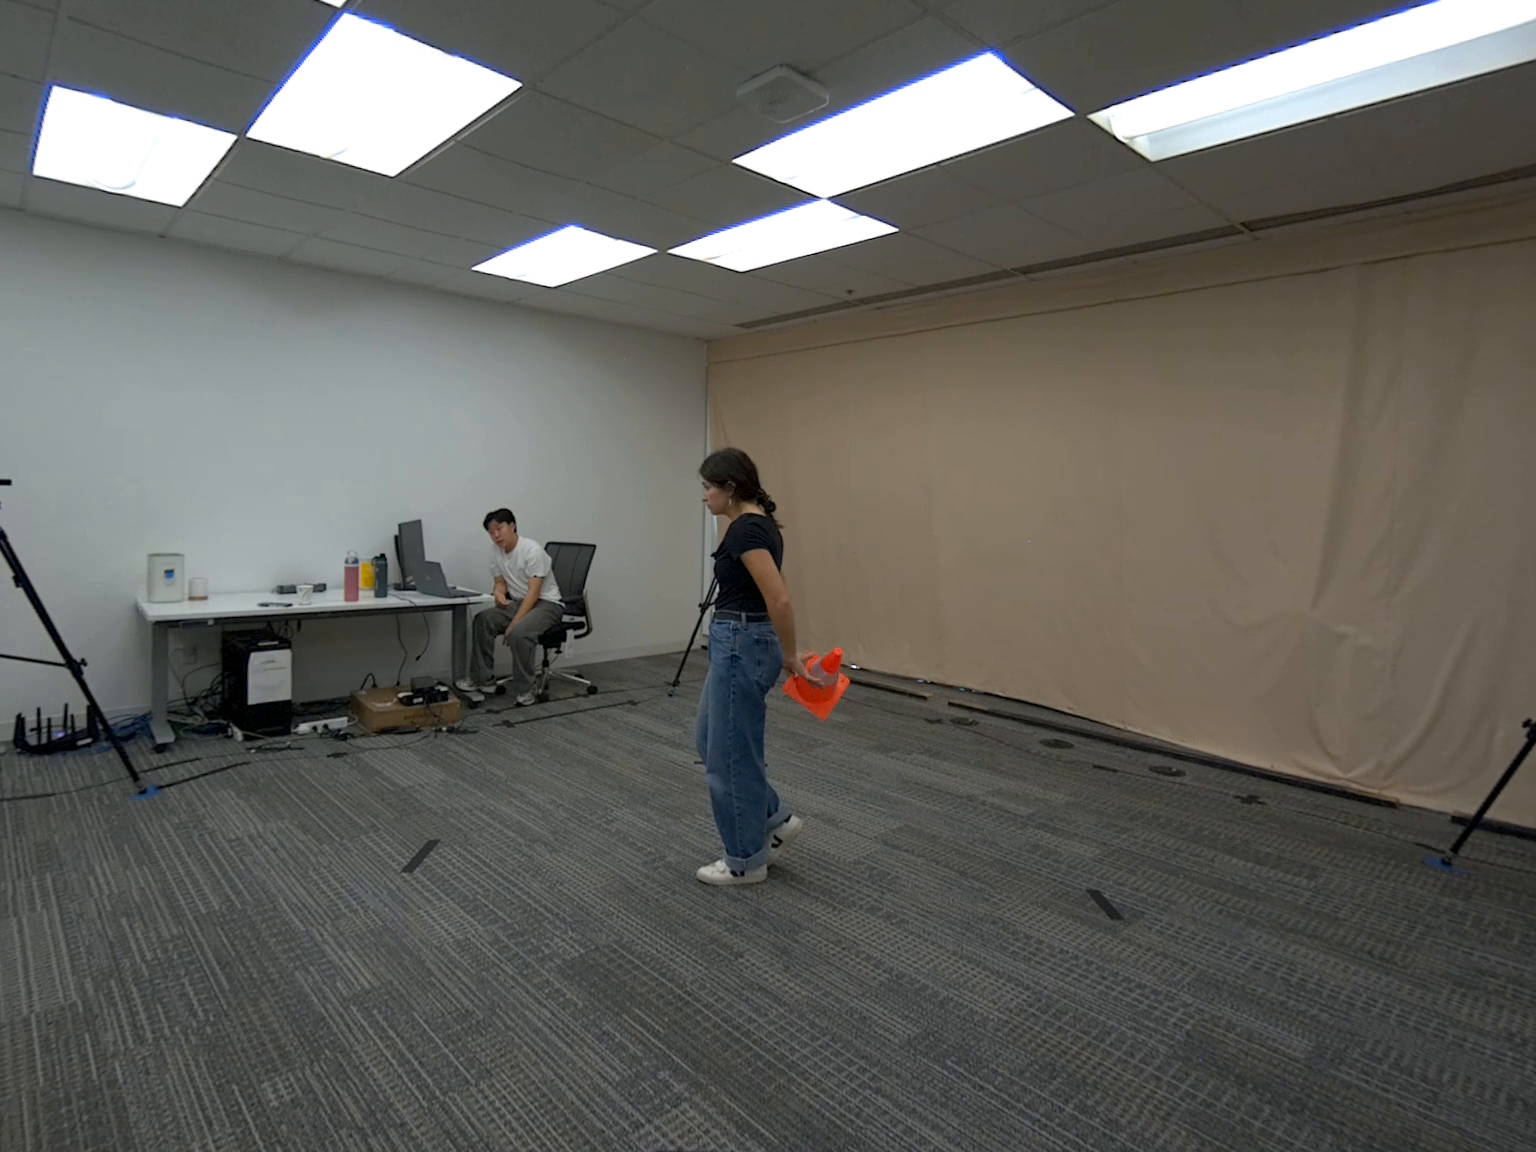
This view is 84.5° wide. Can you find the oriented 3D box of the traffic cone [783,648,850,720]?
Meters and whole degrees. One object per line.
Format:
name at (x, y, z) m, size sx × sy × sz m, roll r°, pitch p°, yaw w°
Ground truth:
traffic cone at (0.188, 0.342, 3.044) m, size 0.207 × 0.203 × 0.379 m, roll 38°, pitch -24°, yaw 10°
